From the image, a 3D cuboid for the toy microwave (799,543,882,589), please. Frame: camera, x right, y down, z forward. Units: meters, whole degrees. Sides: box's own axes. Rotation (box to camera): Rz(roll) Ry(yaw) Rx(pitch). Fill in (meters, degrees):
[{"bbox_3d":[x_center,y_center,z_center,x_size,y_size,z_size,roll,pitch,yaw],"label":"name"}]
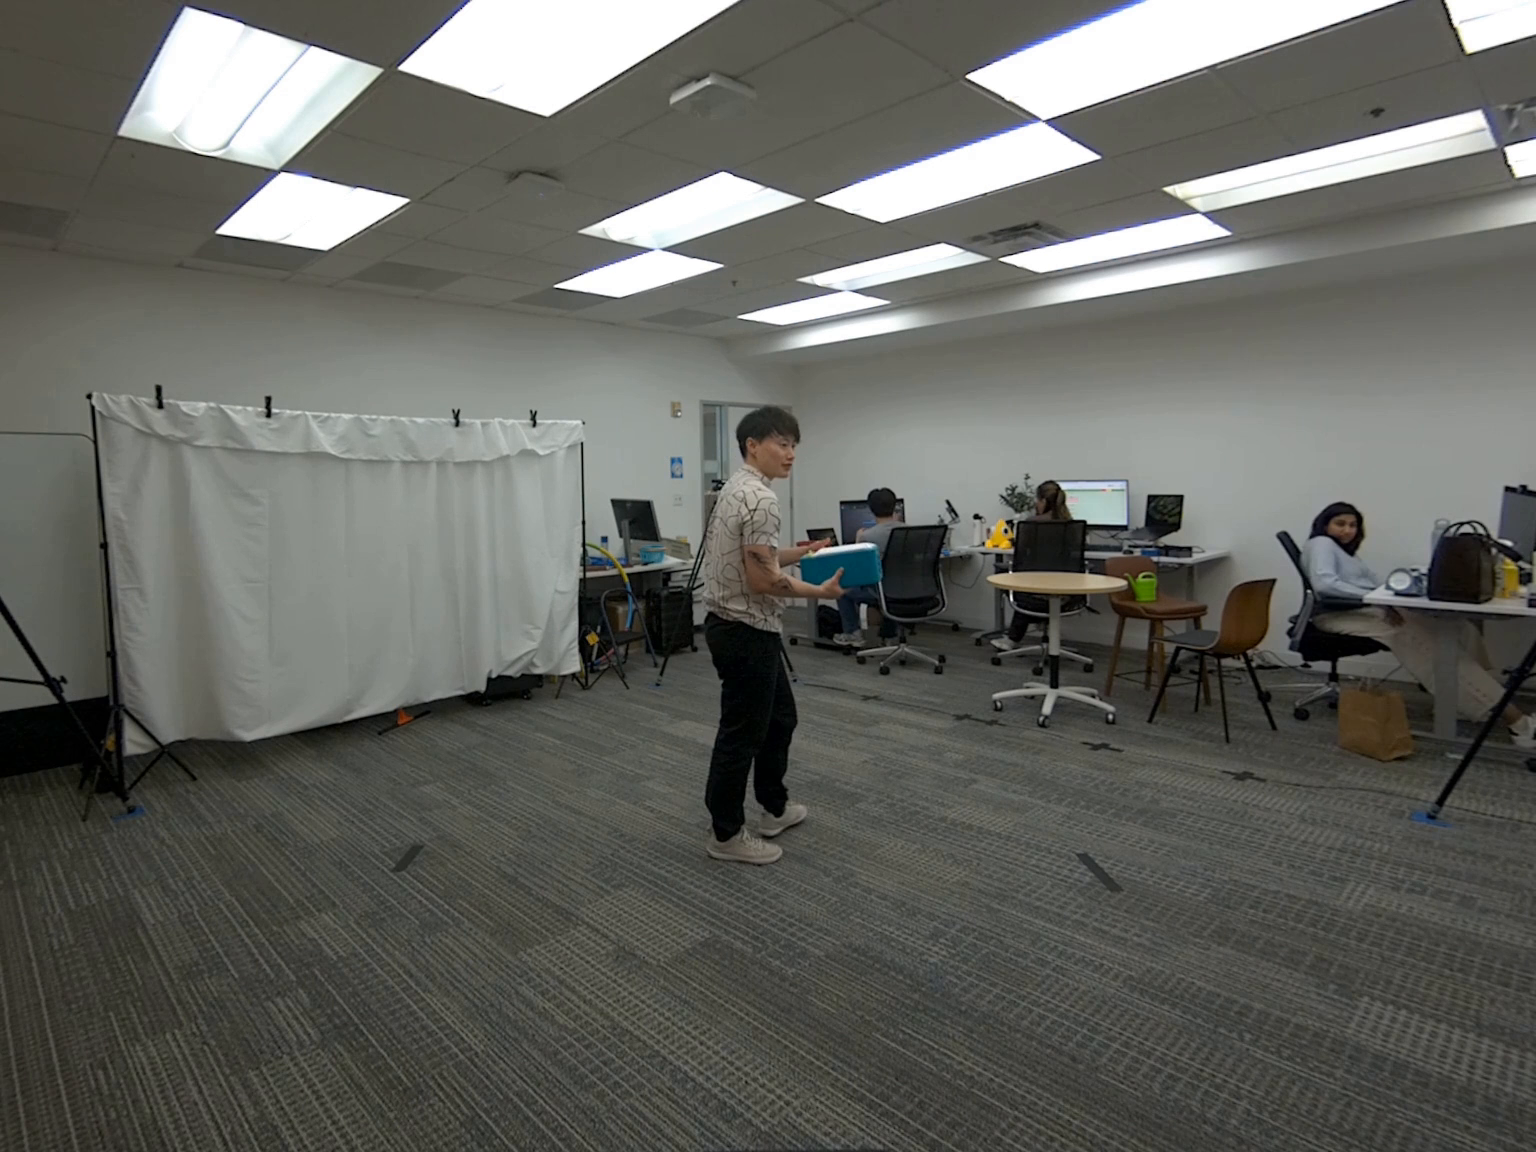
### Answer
[{"bbox_3d":[0.267,-0.040,3.144,0.288,0.152,0.183,-7,4,9],"label":"toy microwave"}]
